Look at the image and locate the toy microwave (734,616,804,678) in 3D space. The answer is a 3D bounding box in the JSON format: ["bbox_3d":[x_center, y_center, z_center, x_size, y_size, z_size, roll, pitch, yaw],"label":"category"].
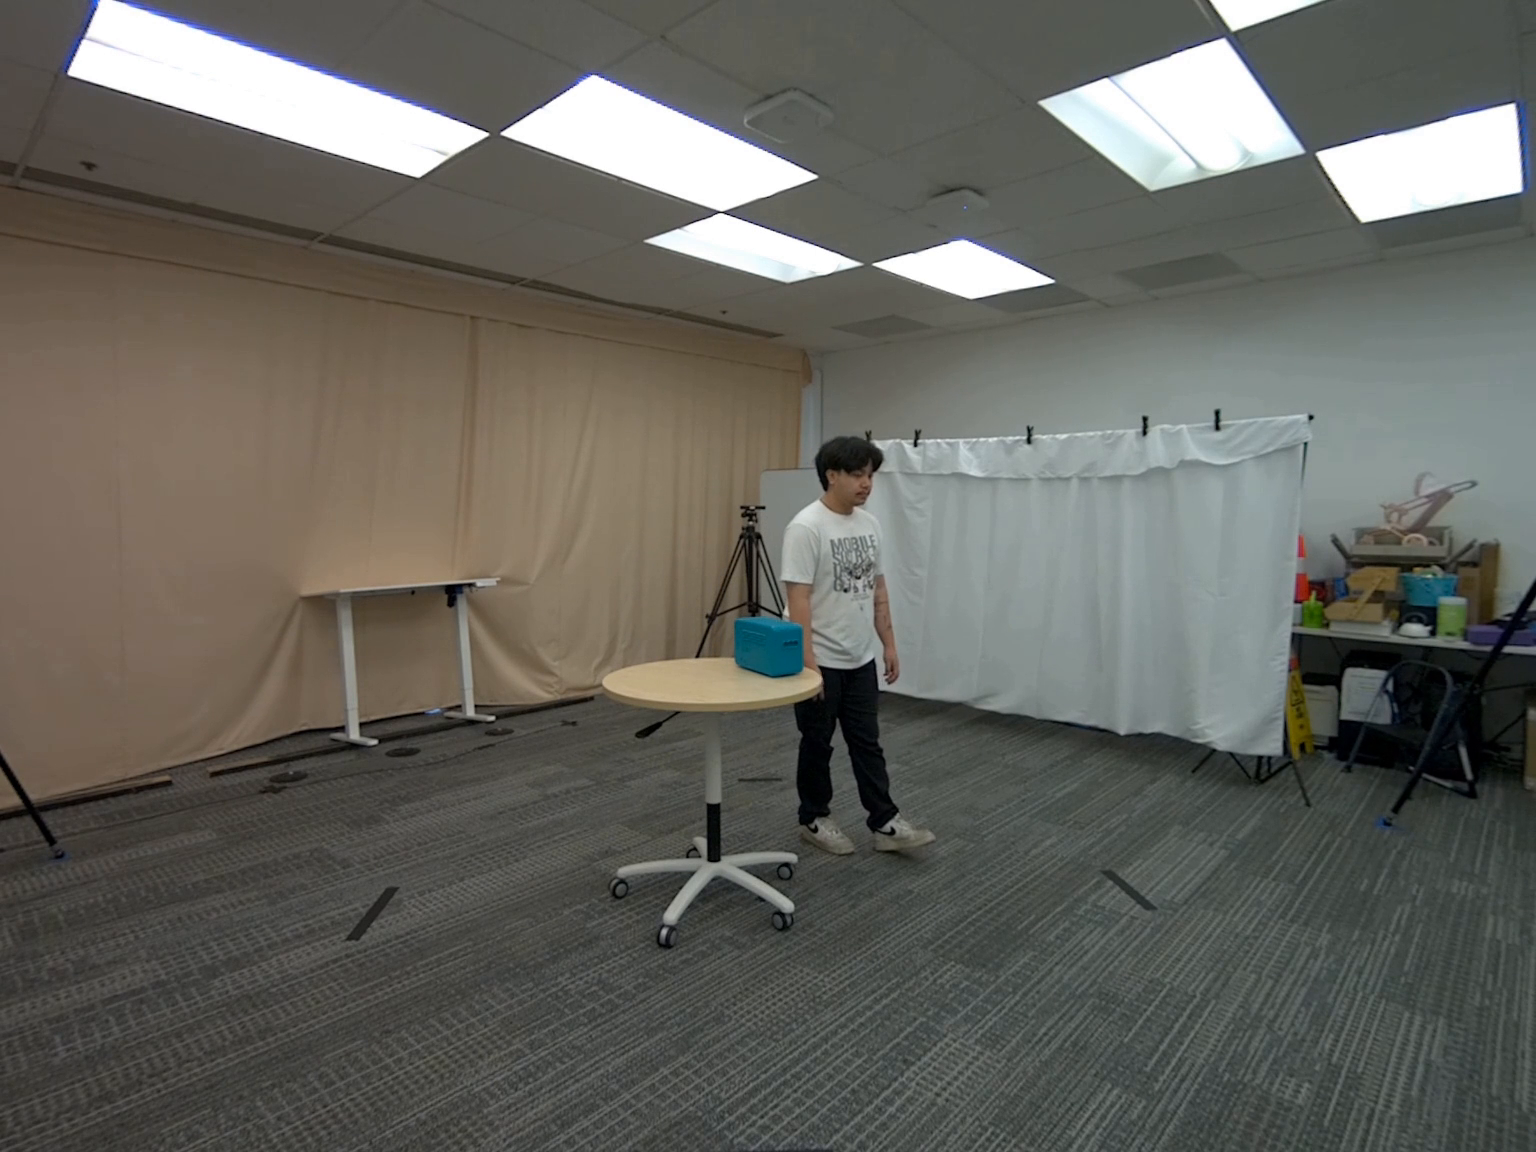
[{"bbox_3d":[0.011,0.251,3.058,0.148,0.184,0.294,-2,4,-30],"label":"toy microwave"}]
